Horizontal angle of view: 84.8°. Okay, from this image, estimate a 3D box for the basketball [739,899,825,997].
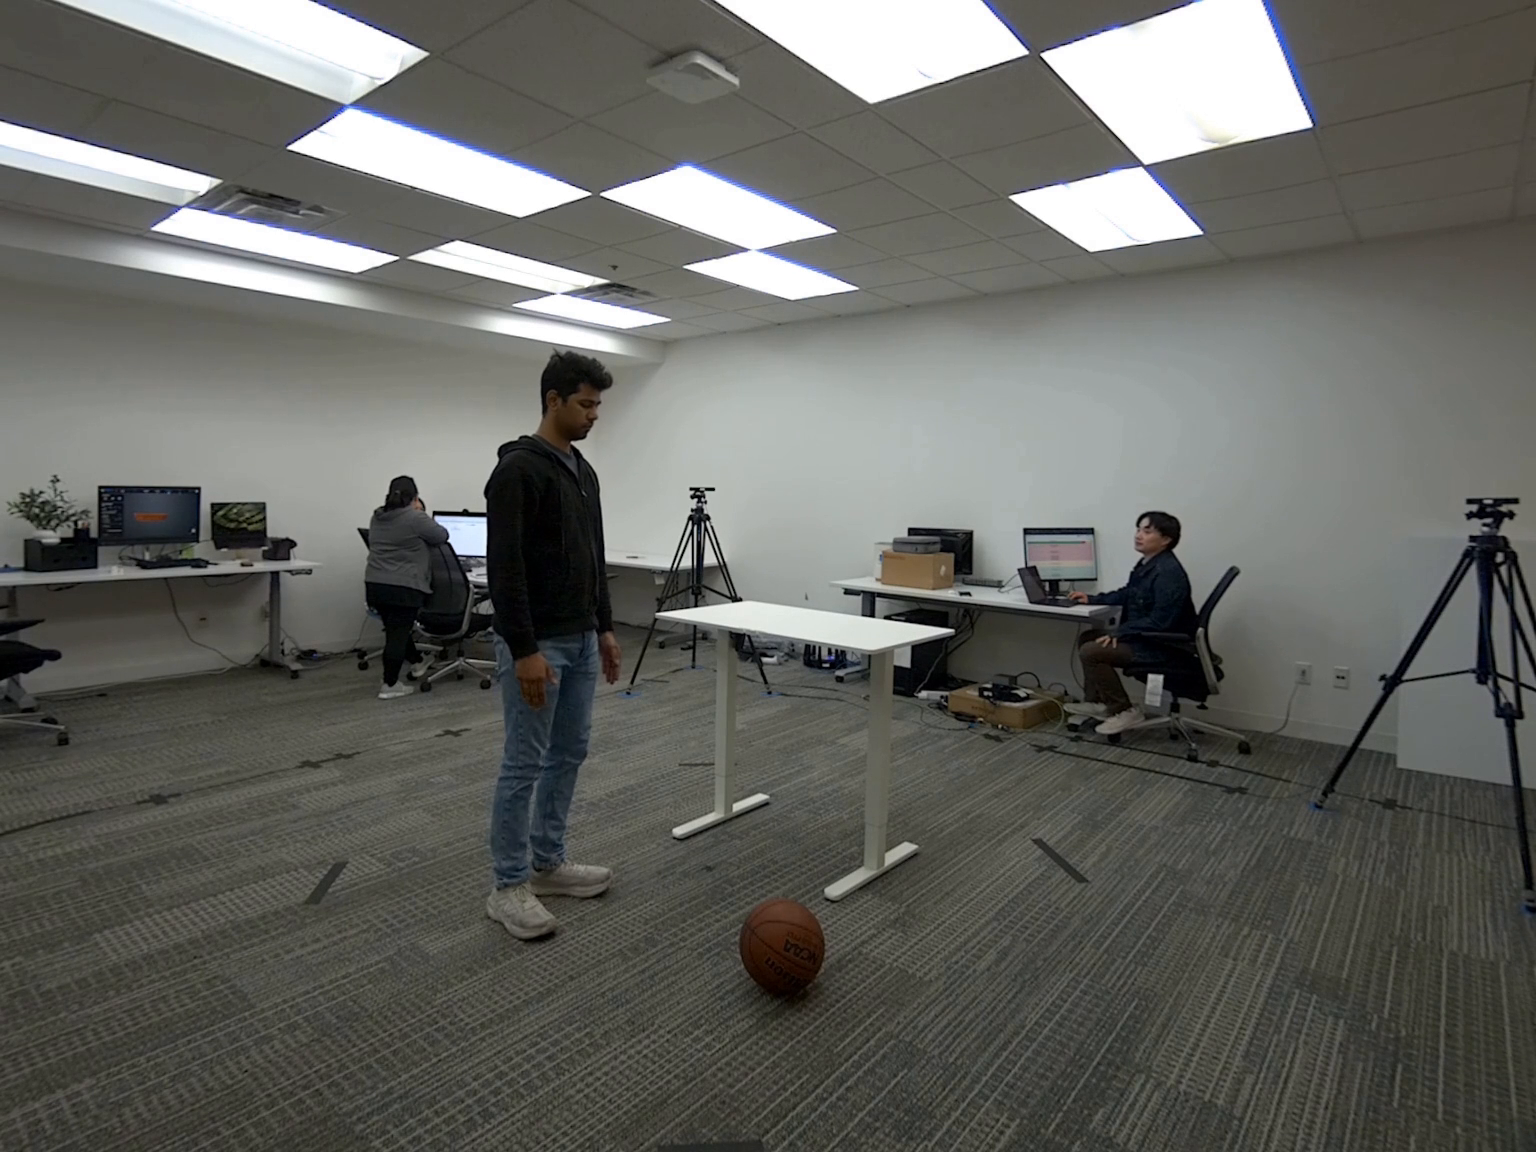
[{"bbox_3d":[0.035,1.020,2.373,0.235,0.235,0.237,1,4,-2],"label":"basketball"}]
